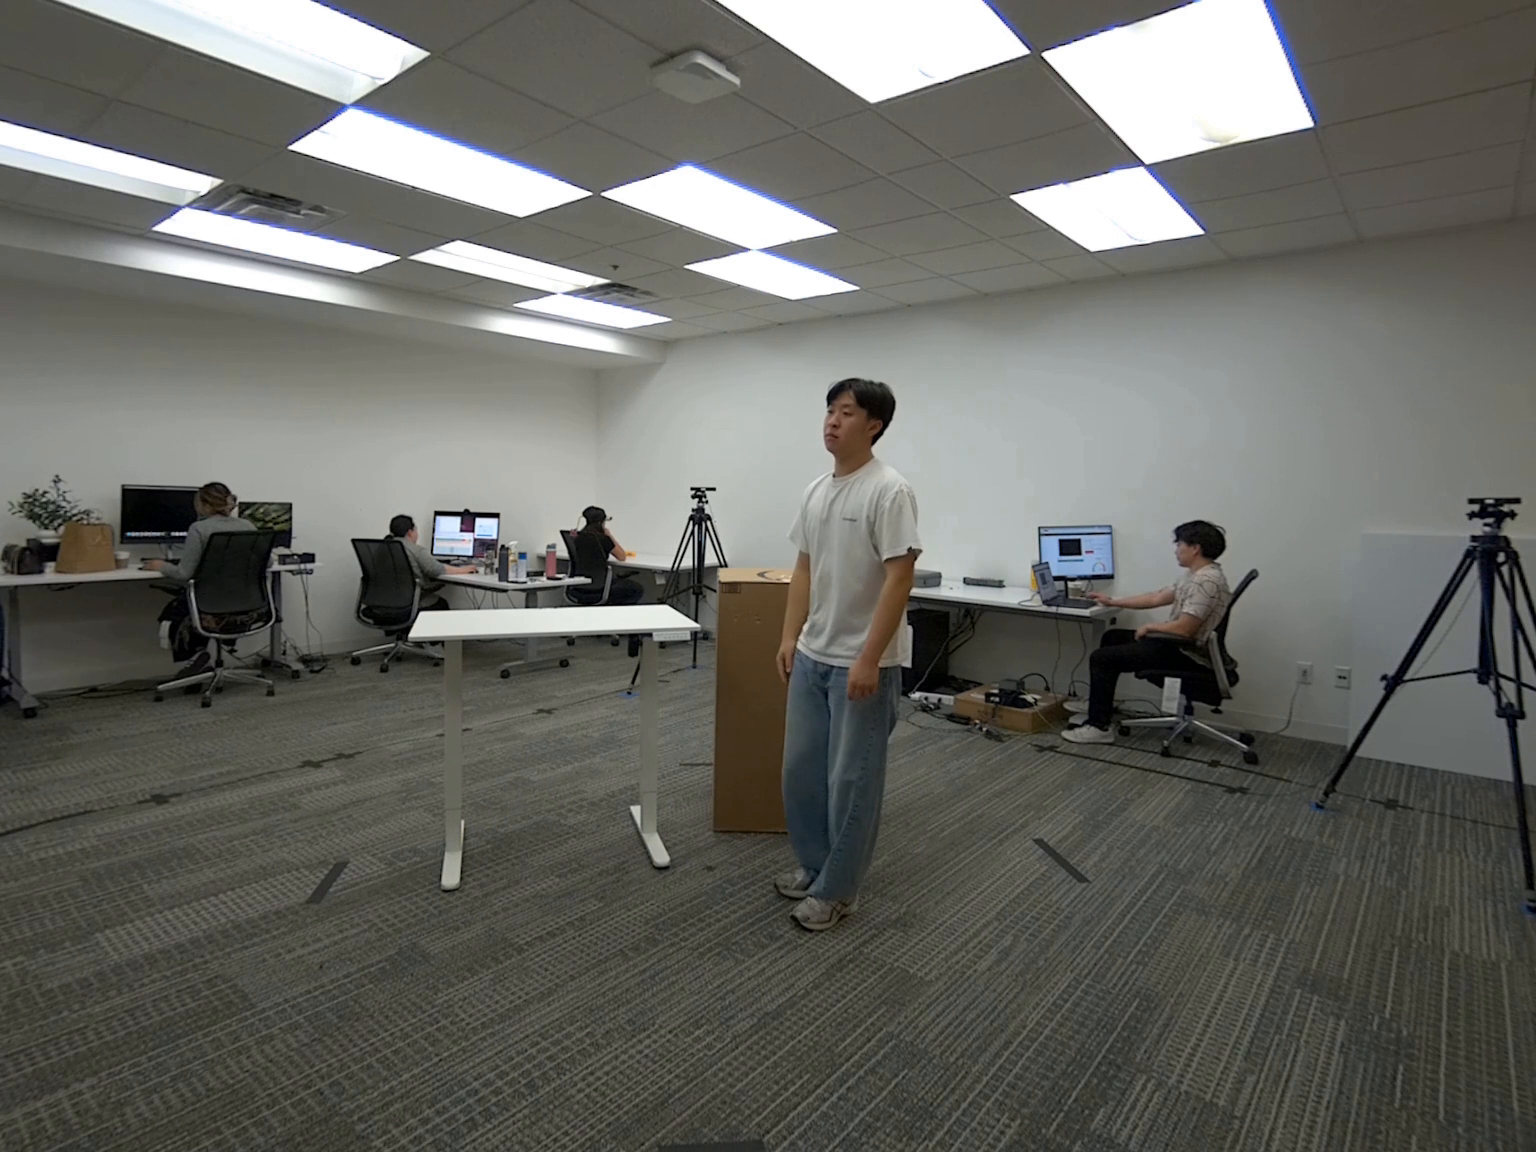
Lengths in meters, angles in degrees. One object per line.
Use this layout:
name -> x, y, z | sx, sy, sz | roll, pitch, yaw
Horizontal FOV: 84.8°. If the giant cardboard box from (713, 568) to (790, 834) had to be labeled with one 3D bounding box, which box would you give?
giant cardboard box -> -0.025, 0.502, 3.705 | 0.426, 1.023, 0.580 | 1, 3, -2
